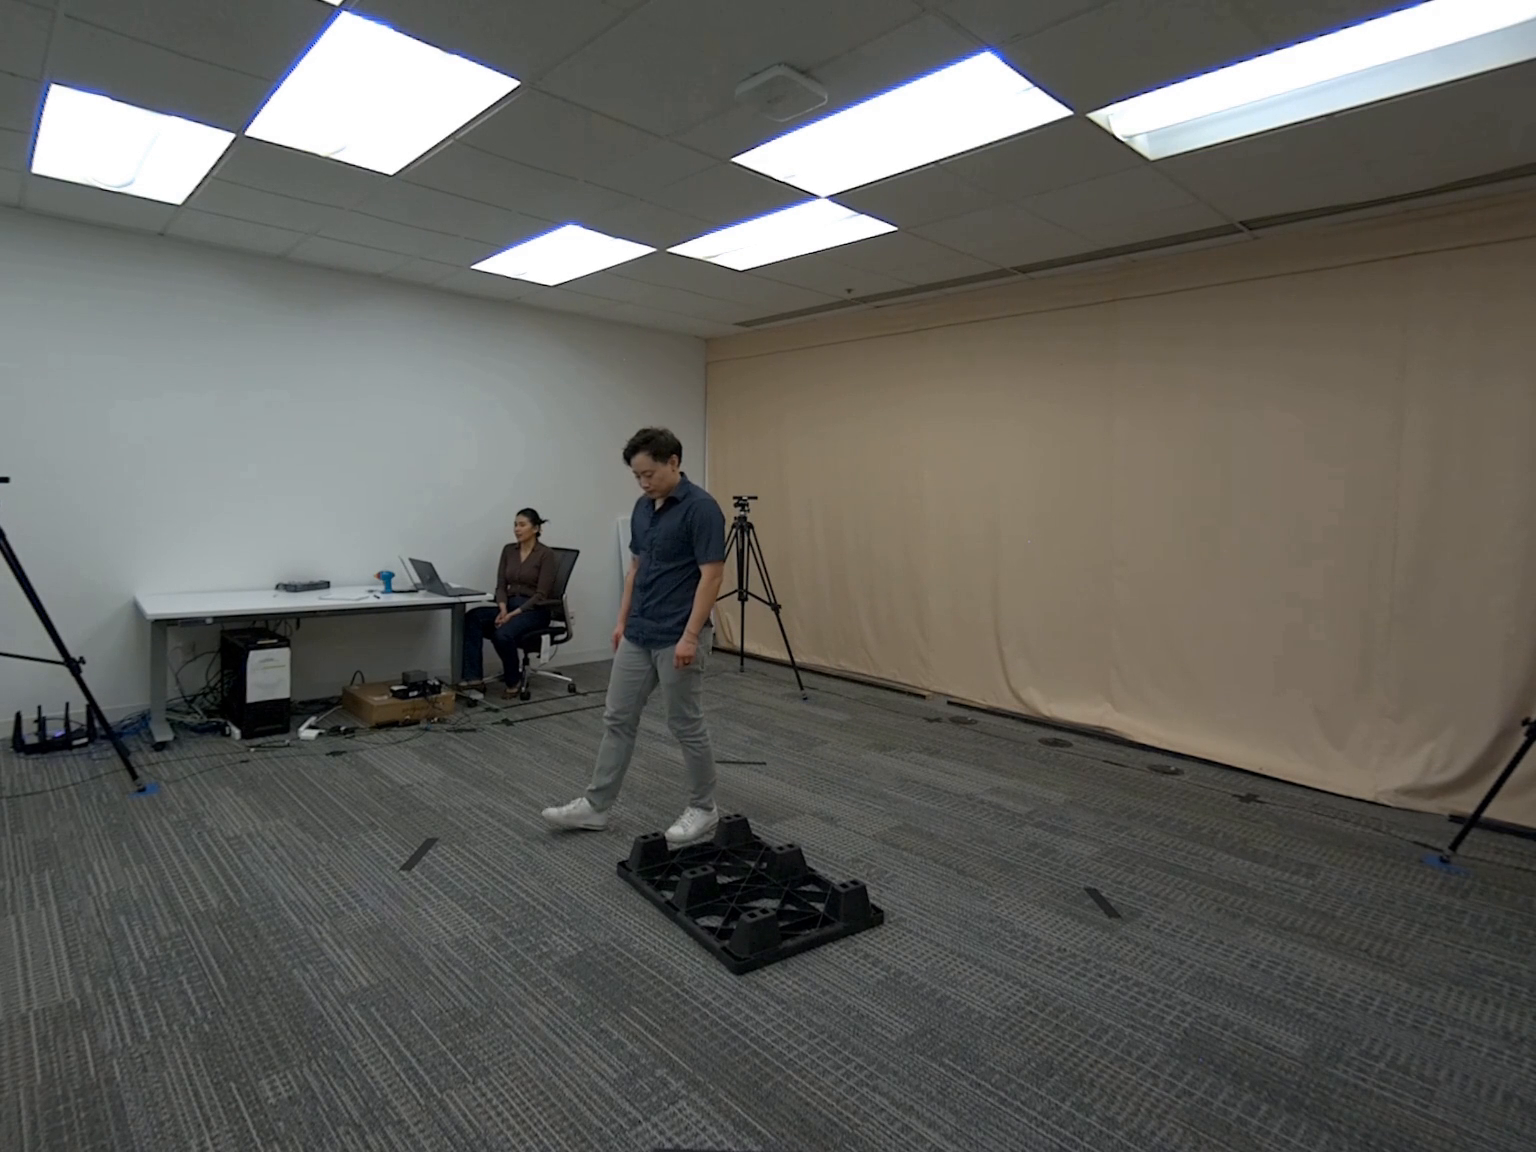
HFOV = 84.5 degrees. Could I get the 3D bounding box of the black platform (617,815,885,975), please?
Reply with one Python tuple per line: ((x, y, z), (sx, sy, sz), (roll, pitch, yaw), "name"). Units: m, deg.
((-0.096, 1.053, 2.932), (0.592, 0.143, 0.825), (-2, 6, -36), "black platform")
